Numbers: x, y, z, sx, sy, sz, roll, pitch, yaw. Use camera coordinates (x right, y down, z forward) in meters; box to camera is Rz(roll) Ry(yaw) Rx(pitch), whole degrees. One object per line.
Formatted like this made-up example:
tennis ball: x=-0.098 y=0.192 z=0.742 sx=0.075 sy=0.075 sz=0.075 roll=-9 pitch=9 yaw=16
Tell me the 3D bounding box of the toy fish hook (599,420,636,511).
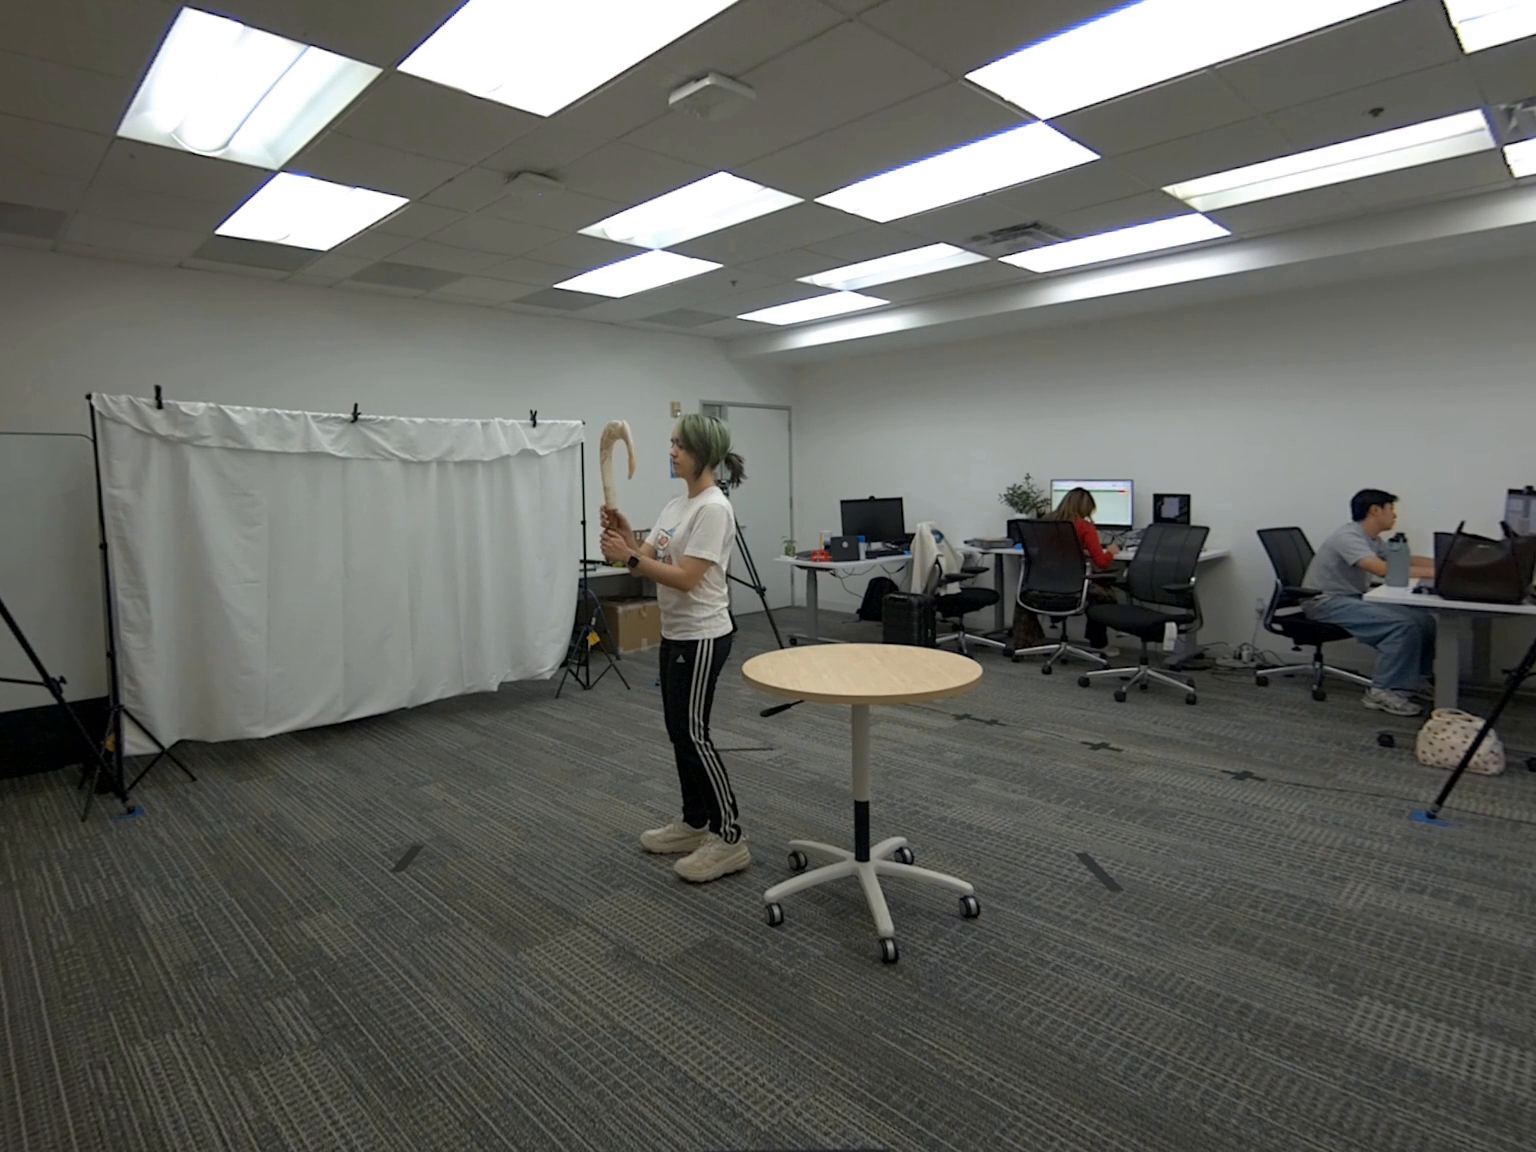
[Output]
toy fish hook: x=-0.523 y=-0.281 z=2.950 sx=0.047 sy=0.503 sz=0.232 roll=-4 pitch=9 yaw=-34
